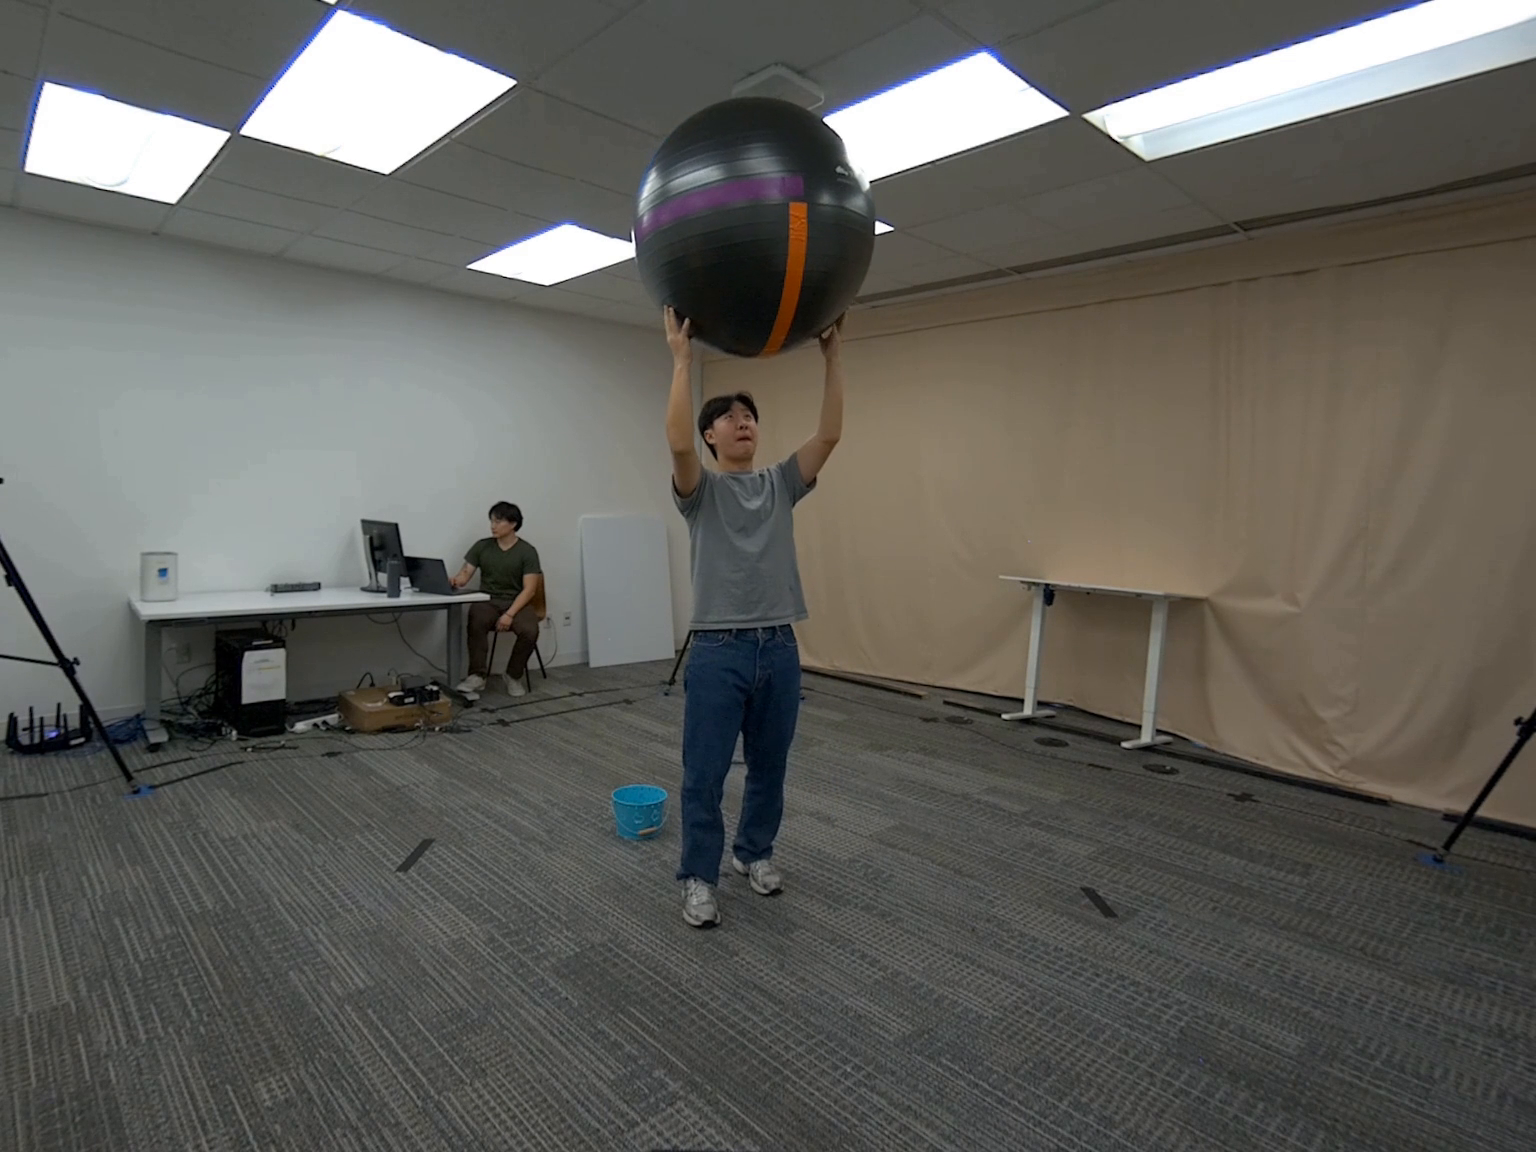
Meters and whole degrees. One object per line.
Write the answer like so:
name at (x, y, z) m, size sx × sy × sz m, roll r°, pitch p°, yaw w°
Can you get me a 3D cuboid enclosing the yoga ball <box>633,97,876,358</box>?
yoga ball at (-0.053, -1.072, 2.633) m, size 0.757 × 0.756 × 0.761 m, roll 1°, pitch 4°, yaw -1°
